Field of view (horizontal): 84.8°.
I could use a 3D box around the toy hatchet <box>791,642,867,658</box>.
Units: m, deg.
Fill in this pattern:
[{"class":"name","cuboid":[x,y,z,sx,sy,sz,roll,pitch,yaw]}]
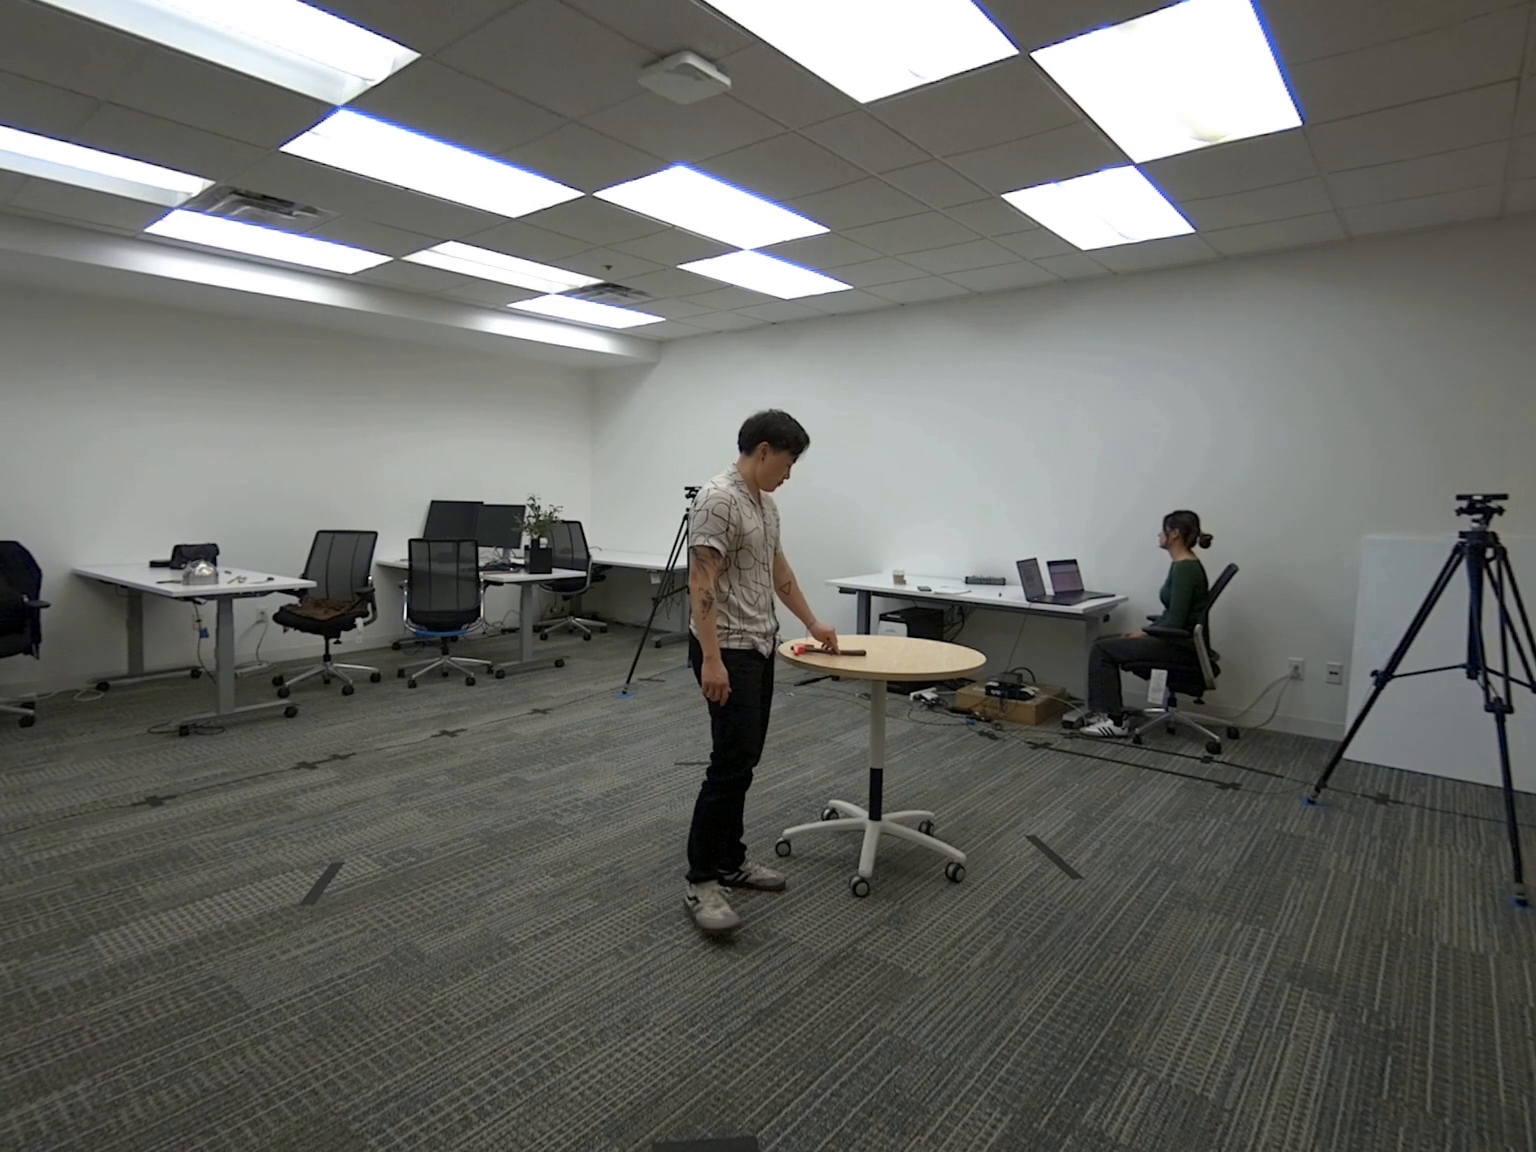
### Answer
[{"class":"toy hatchet","cuboid":[0.216,0.275,3.169,0.268,0.029,0.133,1,10,-9]}]
